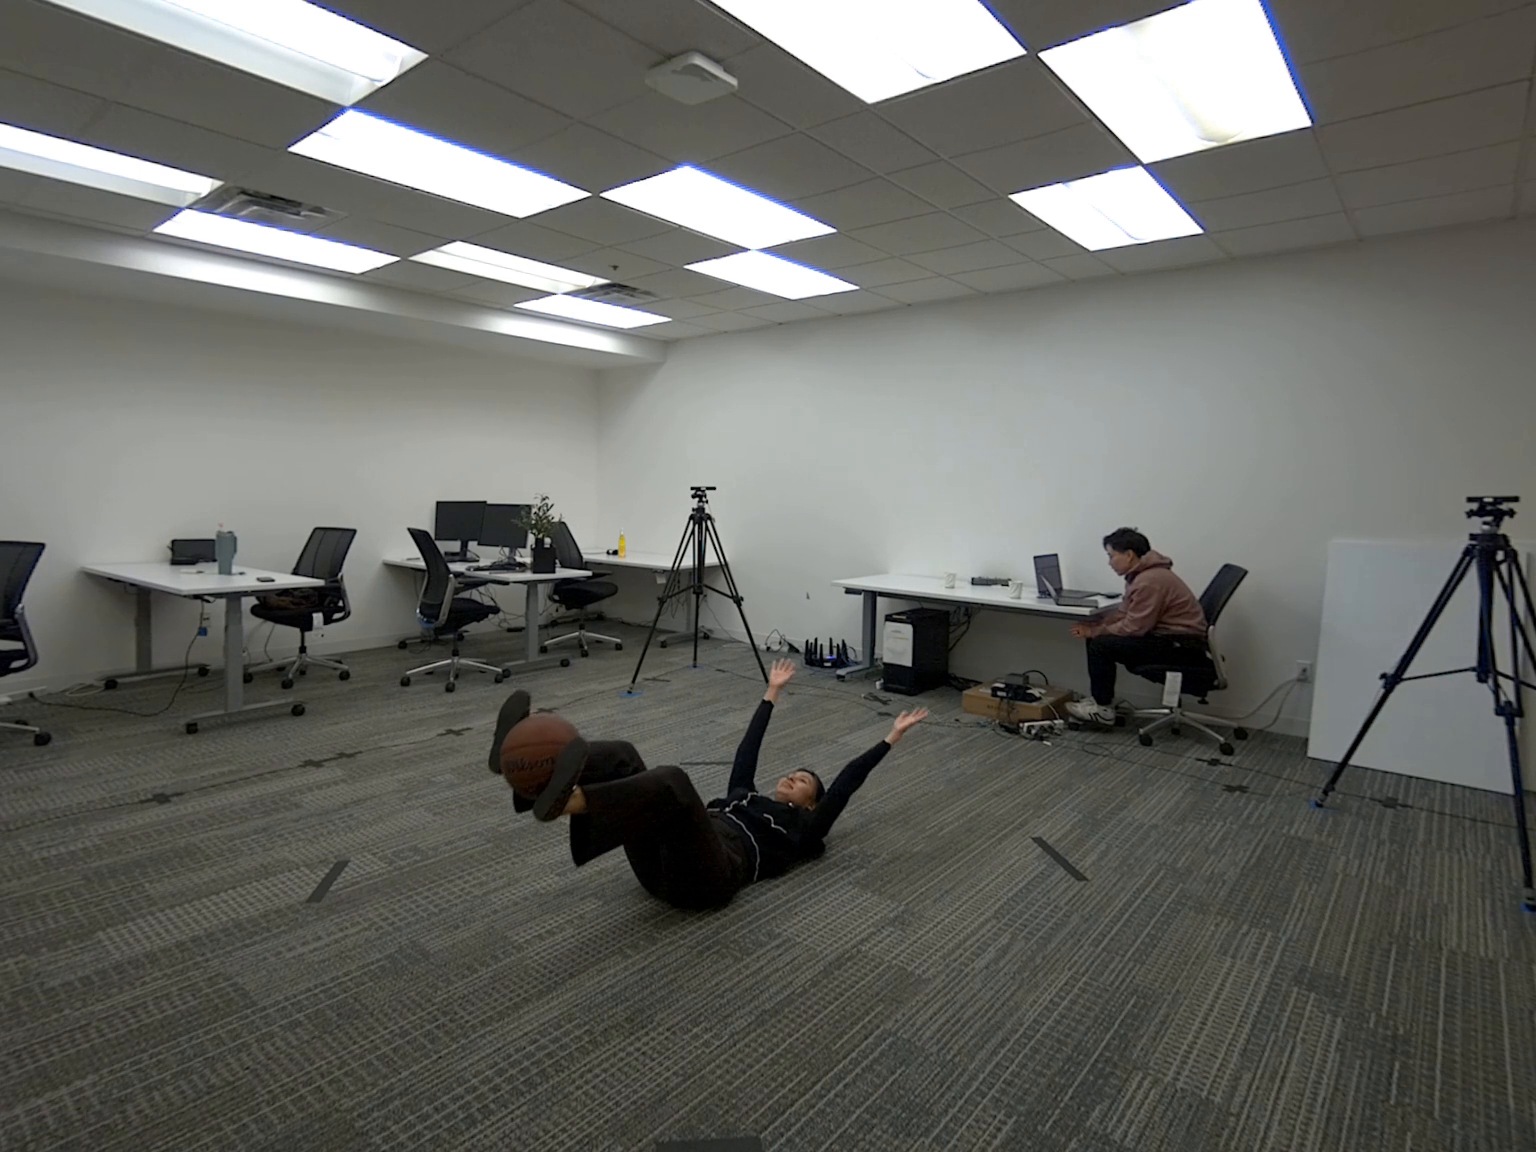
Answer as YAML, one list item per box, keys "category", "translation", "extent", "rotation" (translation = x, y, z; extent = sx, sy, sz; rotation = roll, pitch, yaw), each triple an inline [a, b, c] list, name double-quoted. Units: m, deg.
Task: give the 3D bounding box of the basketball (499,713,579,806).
- category: "basketball"
  translation: [-0.640, 0.523, 2.394]
  extent: [0.236, 0.235, 0.237]
  rotation: [1, 4, -2]
